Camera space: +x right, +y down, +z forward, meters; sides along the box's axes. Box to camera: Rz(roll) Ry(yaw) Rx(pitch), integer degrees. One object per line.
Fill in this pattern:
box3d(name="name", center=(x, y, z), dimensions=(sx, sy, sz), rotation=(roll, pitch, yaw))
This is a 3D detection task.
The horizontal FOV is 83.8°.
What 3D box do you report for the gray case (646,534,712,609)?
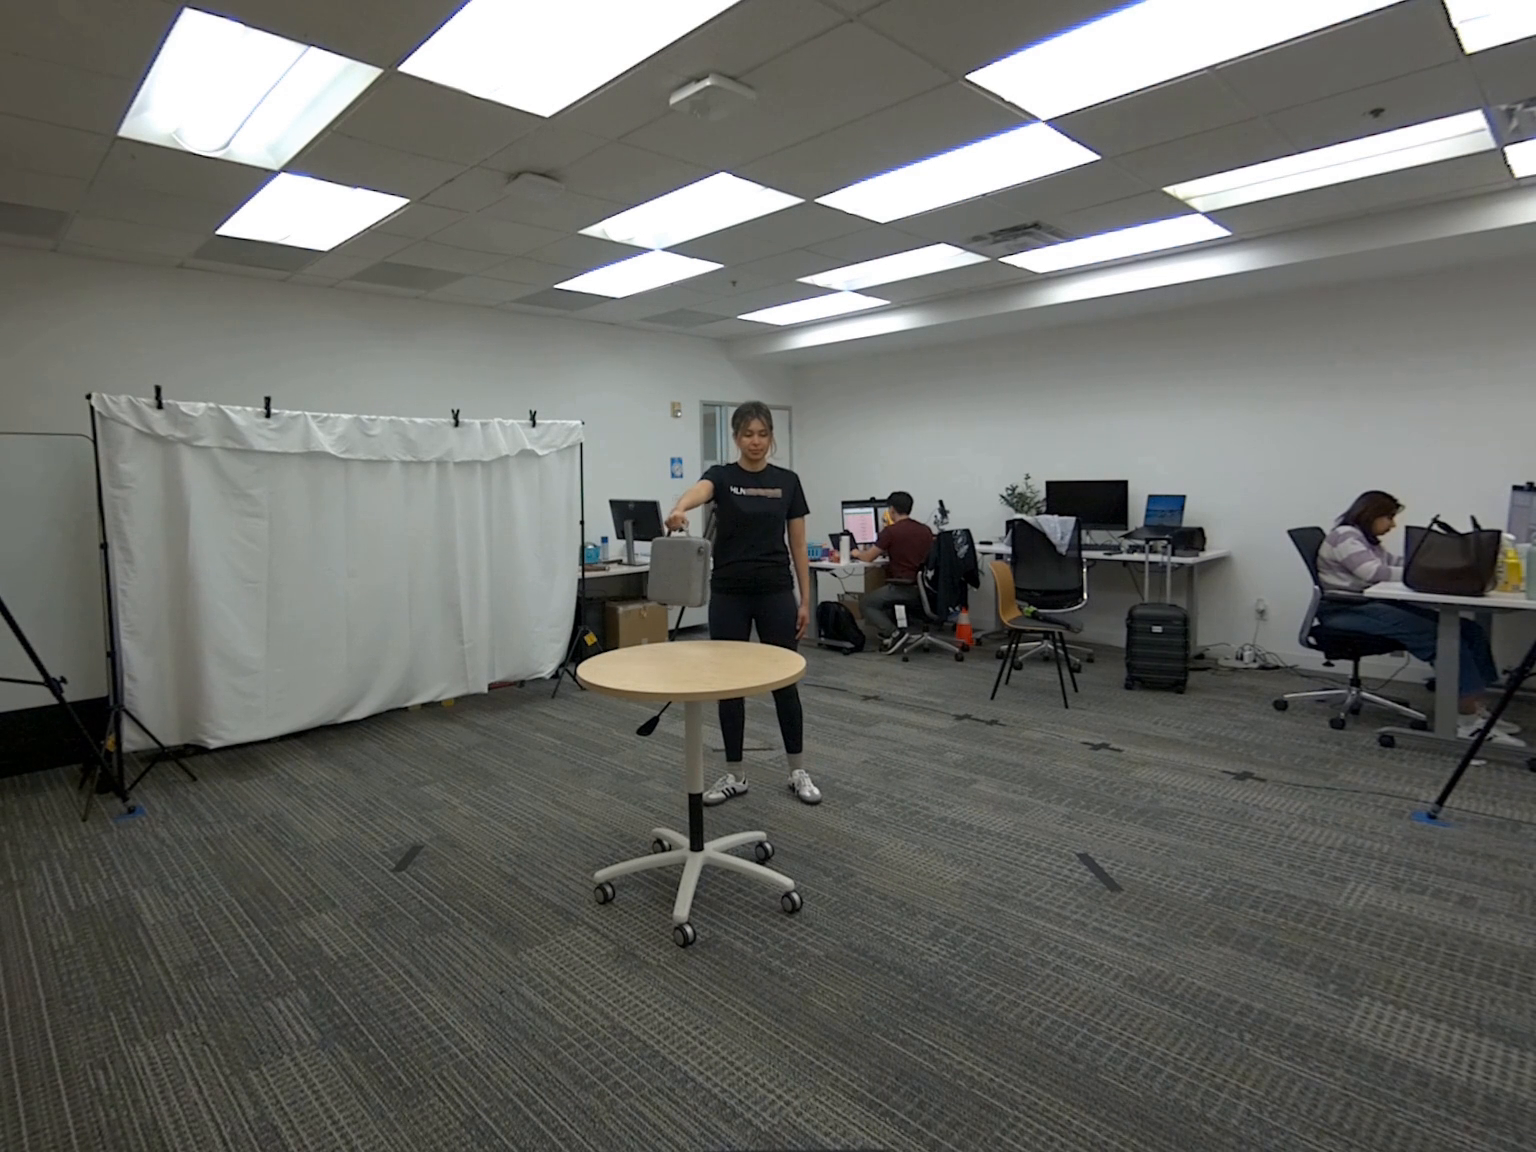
box3d(name="gray case", center=(-0.324, -0.021, 3.186), dimensions=(0.264, 0.261, 0.101), rotation=(1, -3, 44))
